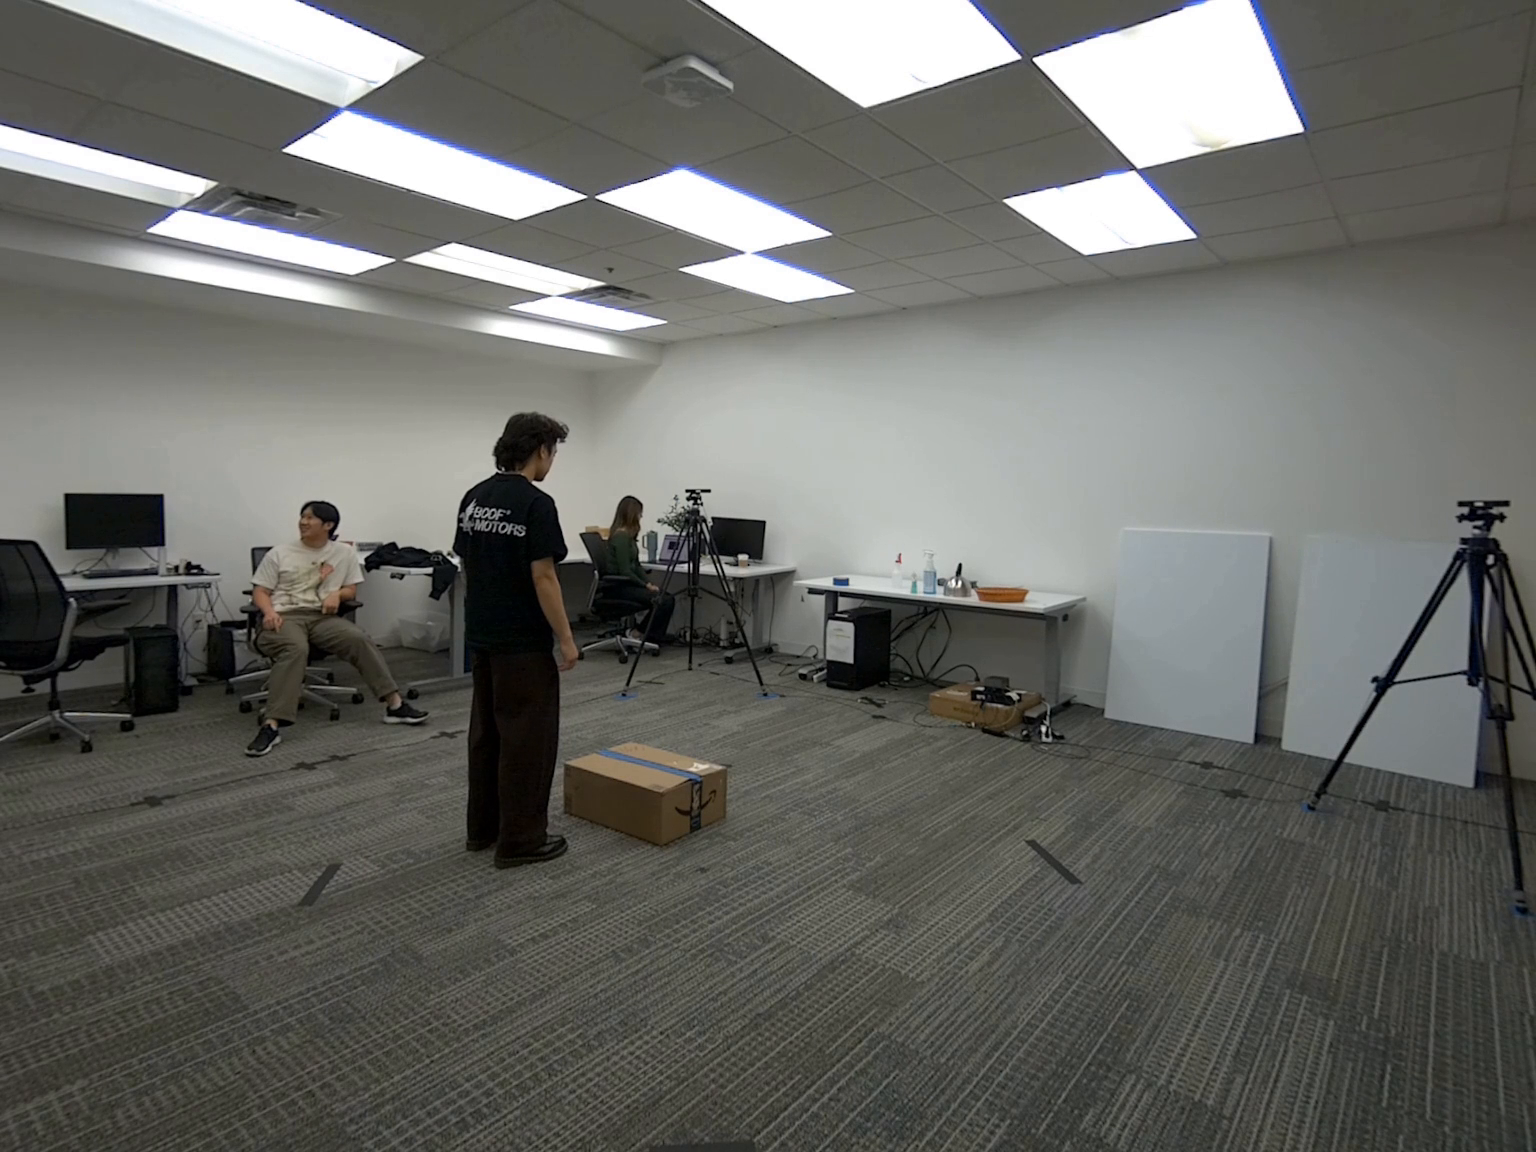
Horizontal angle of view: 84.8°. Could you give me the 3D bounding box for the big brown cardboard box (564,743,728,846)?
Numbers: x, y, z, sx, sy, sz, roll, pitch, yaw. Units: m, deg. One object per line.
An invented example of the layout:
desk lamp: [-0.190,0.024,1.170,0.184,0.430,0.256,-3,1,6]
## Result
big brown cardboard box: [-0.533,0.906,3.624,0.608,0.232,0.406,3,5,36]
